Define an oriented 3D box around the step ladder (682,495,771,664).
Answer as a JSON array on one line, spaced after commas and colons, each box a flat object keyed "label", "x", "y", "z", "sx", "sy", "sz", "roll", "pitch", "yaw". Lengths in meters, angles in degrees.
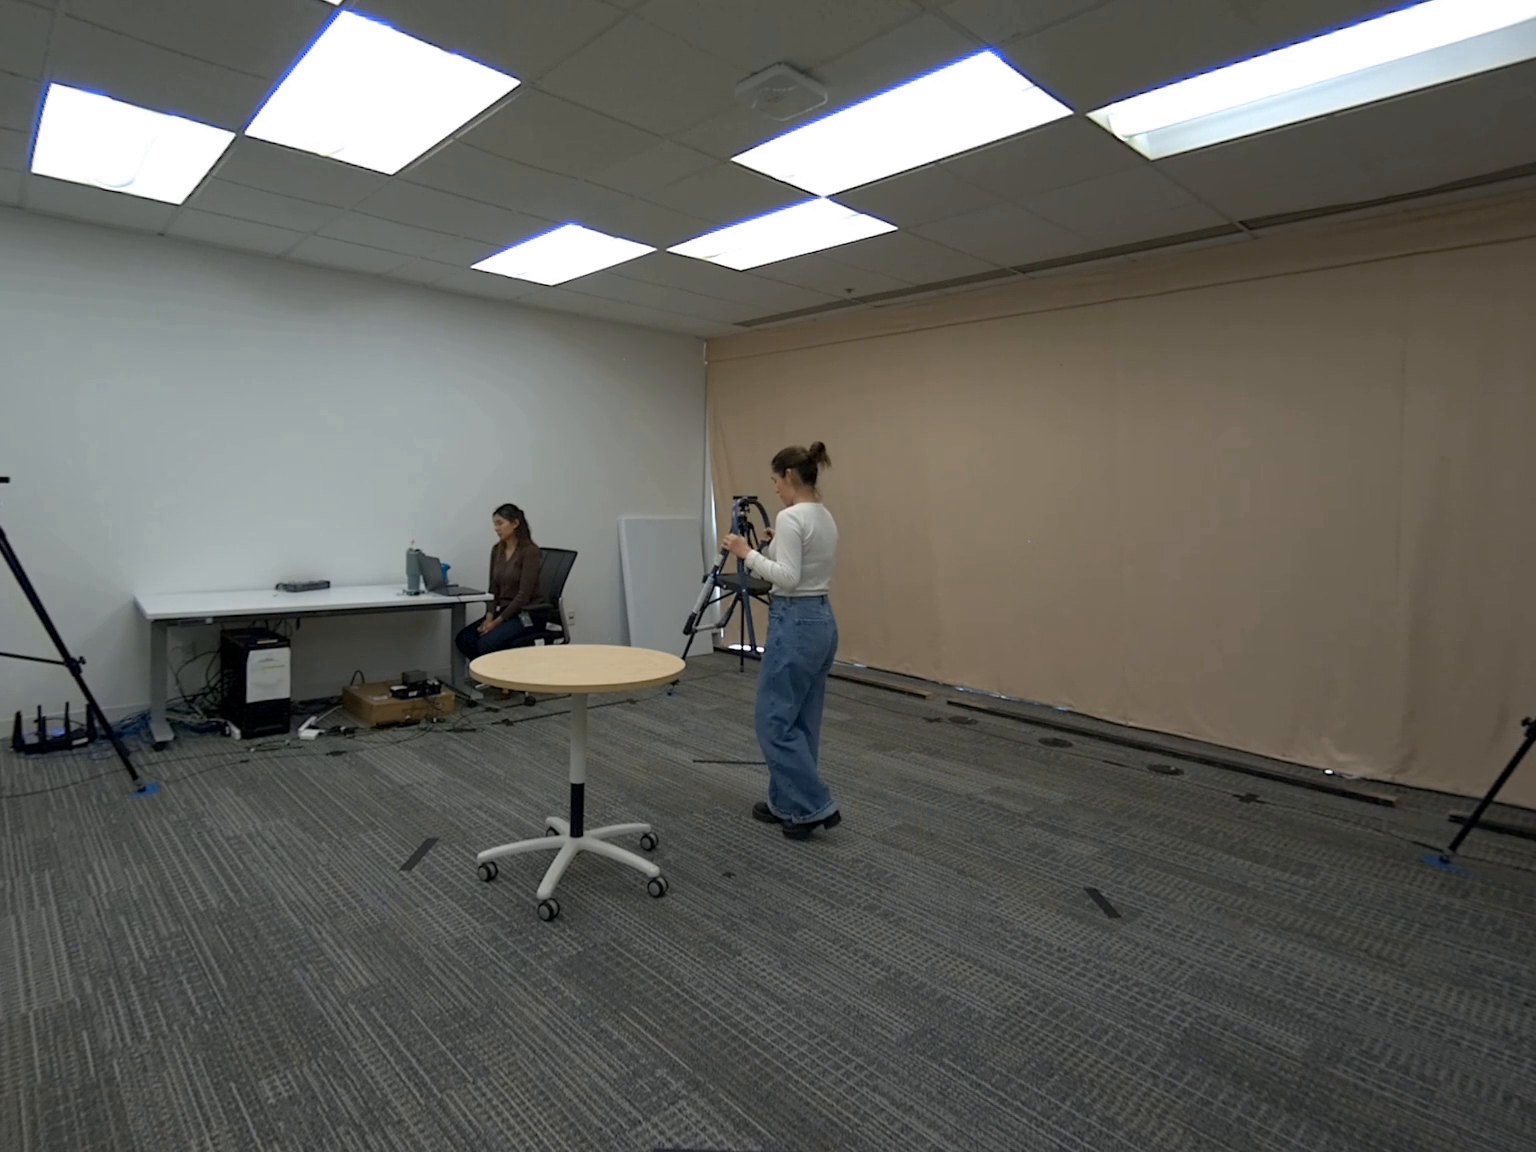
[{"label": "step ladder", "x": -0.079, "y": -0.023, "z": 3.607, "sx": 0.356, "sy": 0.604, "sz": 0.424, "roll": 12, "pitch": 5, "yaw": 20}]
